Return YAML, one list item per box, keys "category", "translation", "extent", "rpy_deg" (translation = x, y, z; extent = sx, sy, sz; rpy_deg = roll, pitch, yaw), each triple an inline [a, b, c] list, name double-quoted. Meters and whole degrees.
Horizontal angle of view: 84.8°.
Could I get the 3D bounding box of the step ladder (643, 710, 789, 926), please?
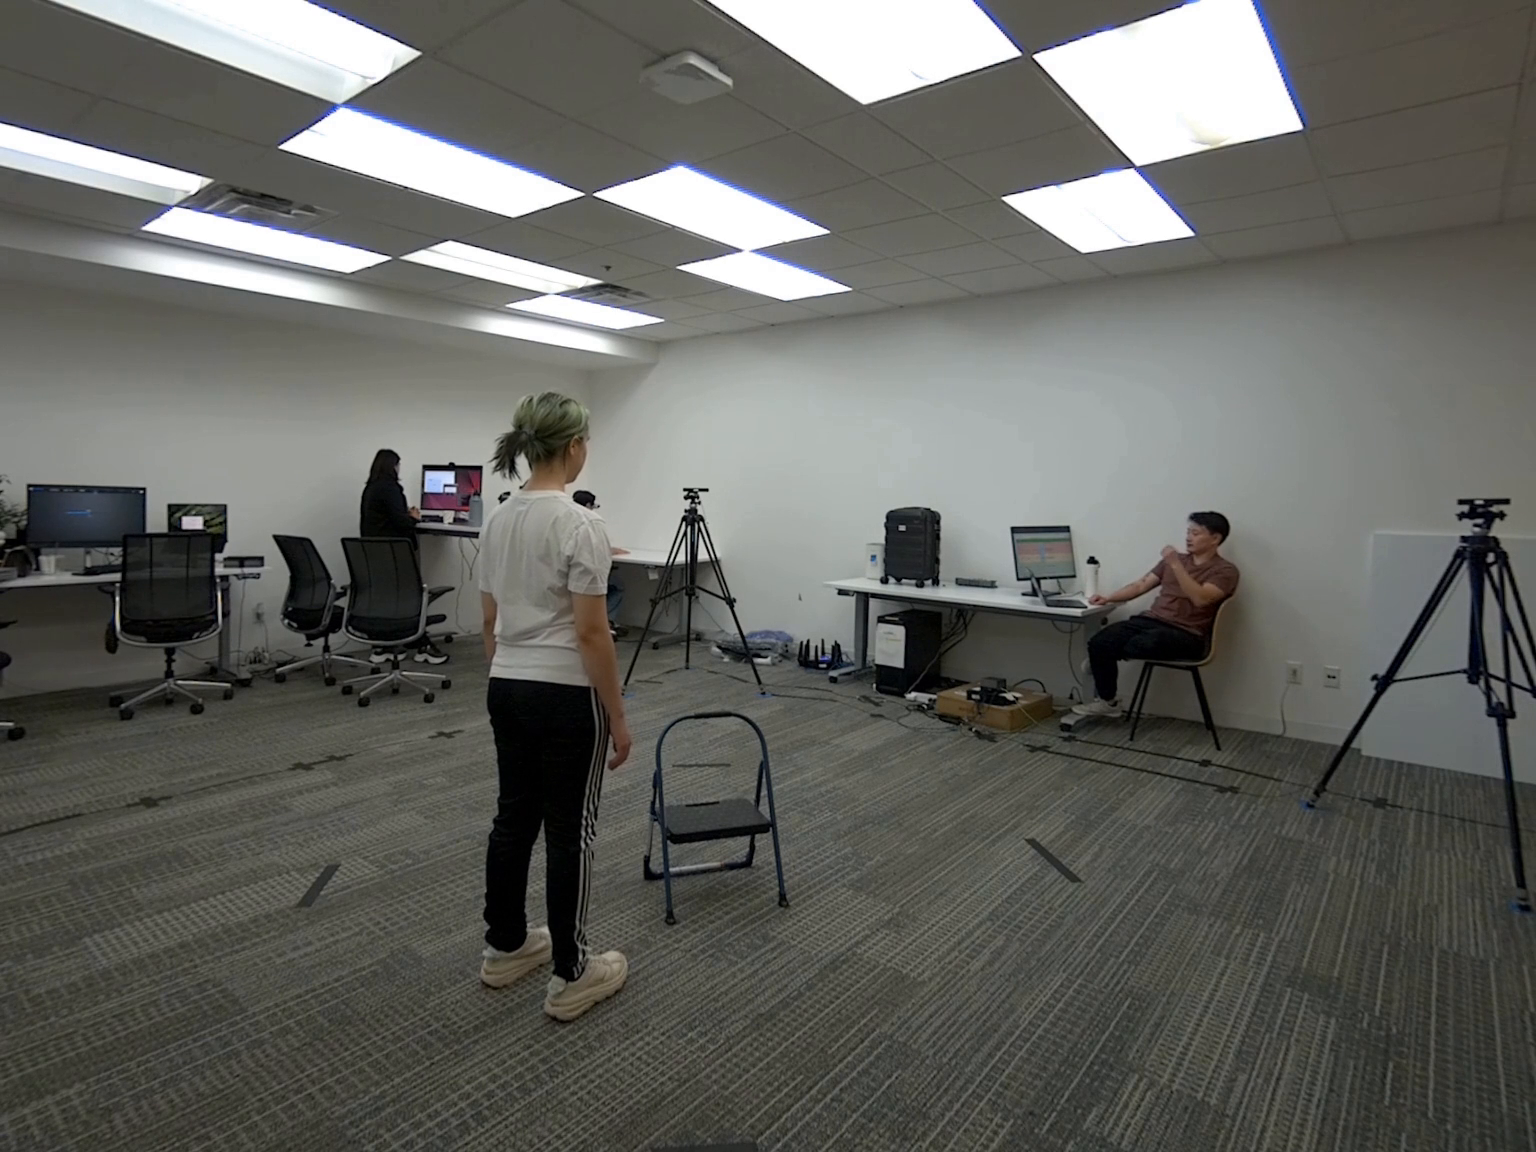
- category: "step ladder"
  translation: [-0.192, 0.787, 2.923]
  extent: [0.421, 0.604, 0.358]
  rpy_deg: [0, 3, -22]
